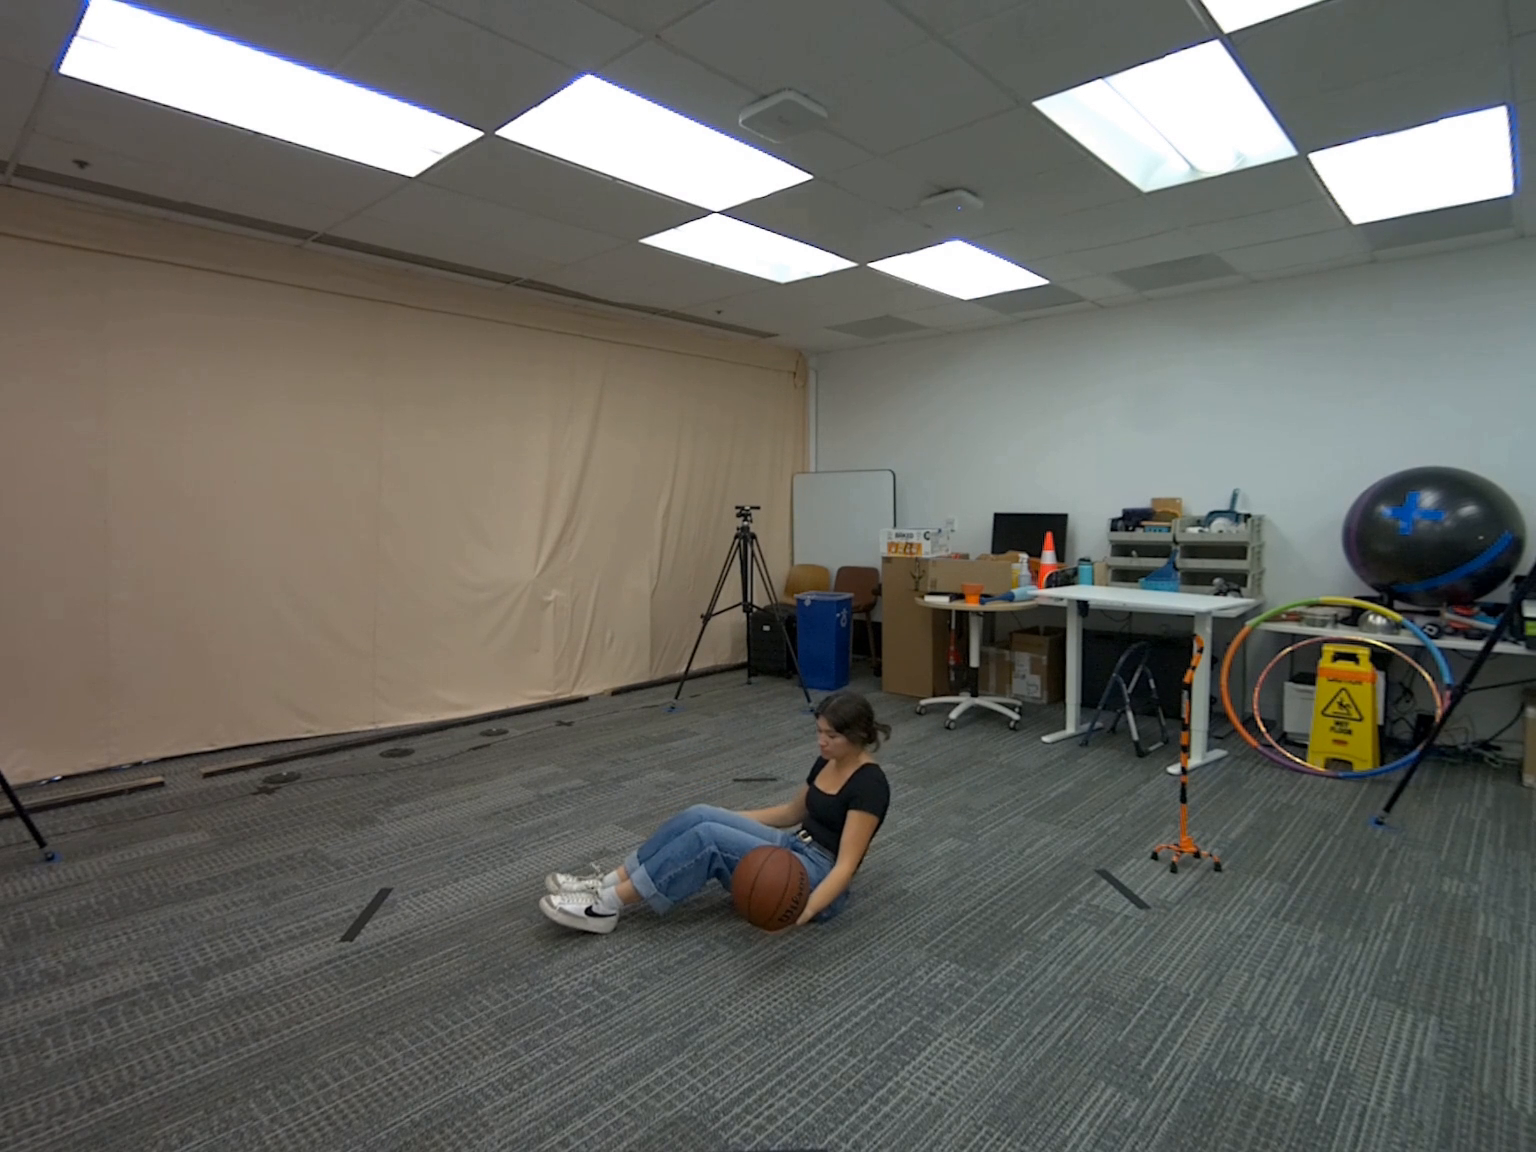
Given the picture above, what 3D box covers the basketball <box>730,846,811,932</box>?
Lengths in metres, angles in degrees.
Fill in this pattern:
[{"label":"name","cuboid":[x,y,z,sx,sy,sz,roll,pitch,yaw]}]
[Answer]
[{"label":"basketball","cuboid":[0.014,0.933,2.537,0.236,0.235,0.237,0,4,-2]}]
